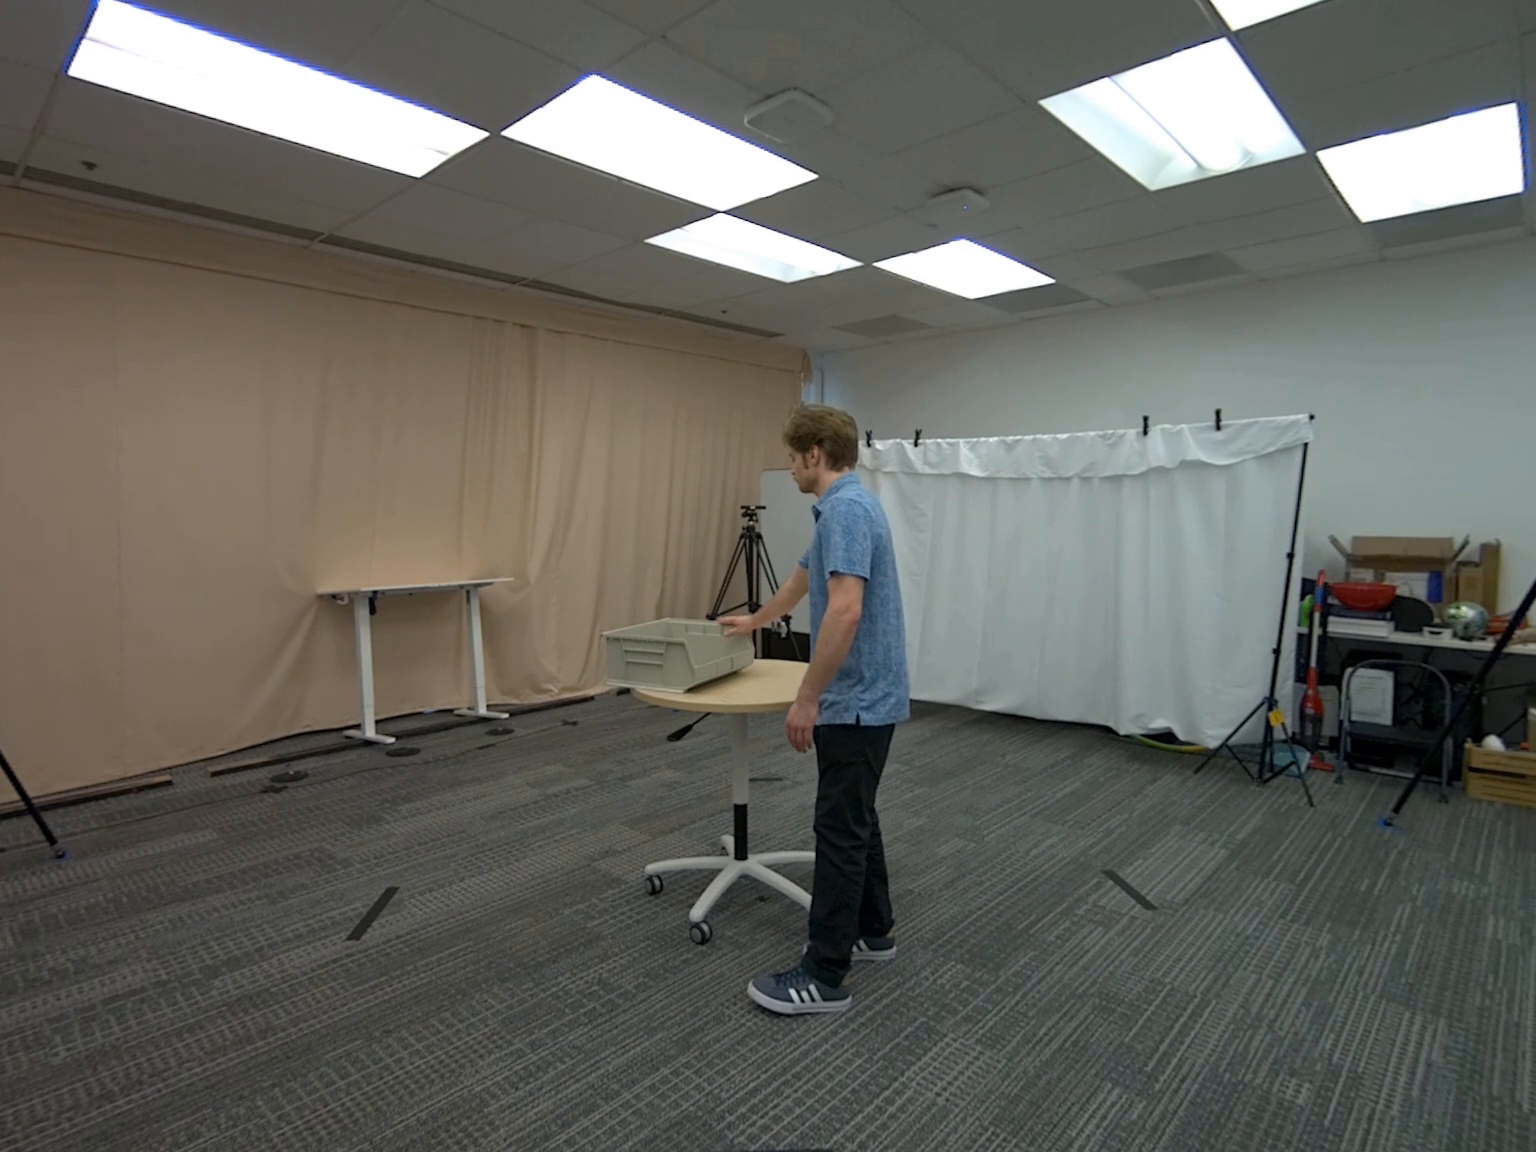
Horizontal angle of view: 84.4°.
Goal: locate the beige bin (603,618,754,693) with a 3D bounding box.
[{"bbox_3d":[-0.306,0.276,2.971,0.388,0.188,0.412,0,5,28],"label":"beige bin"}]
